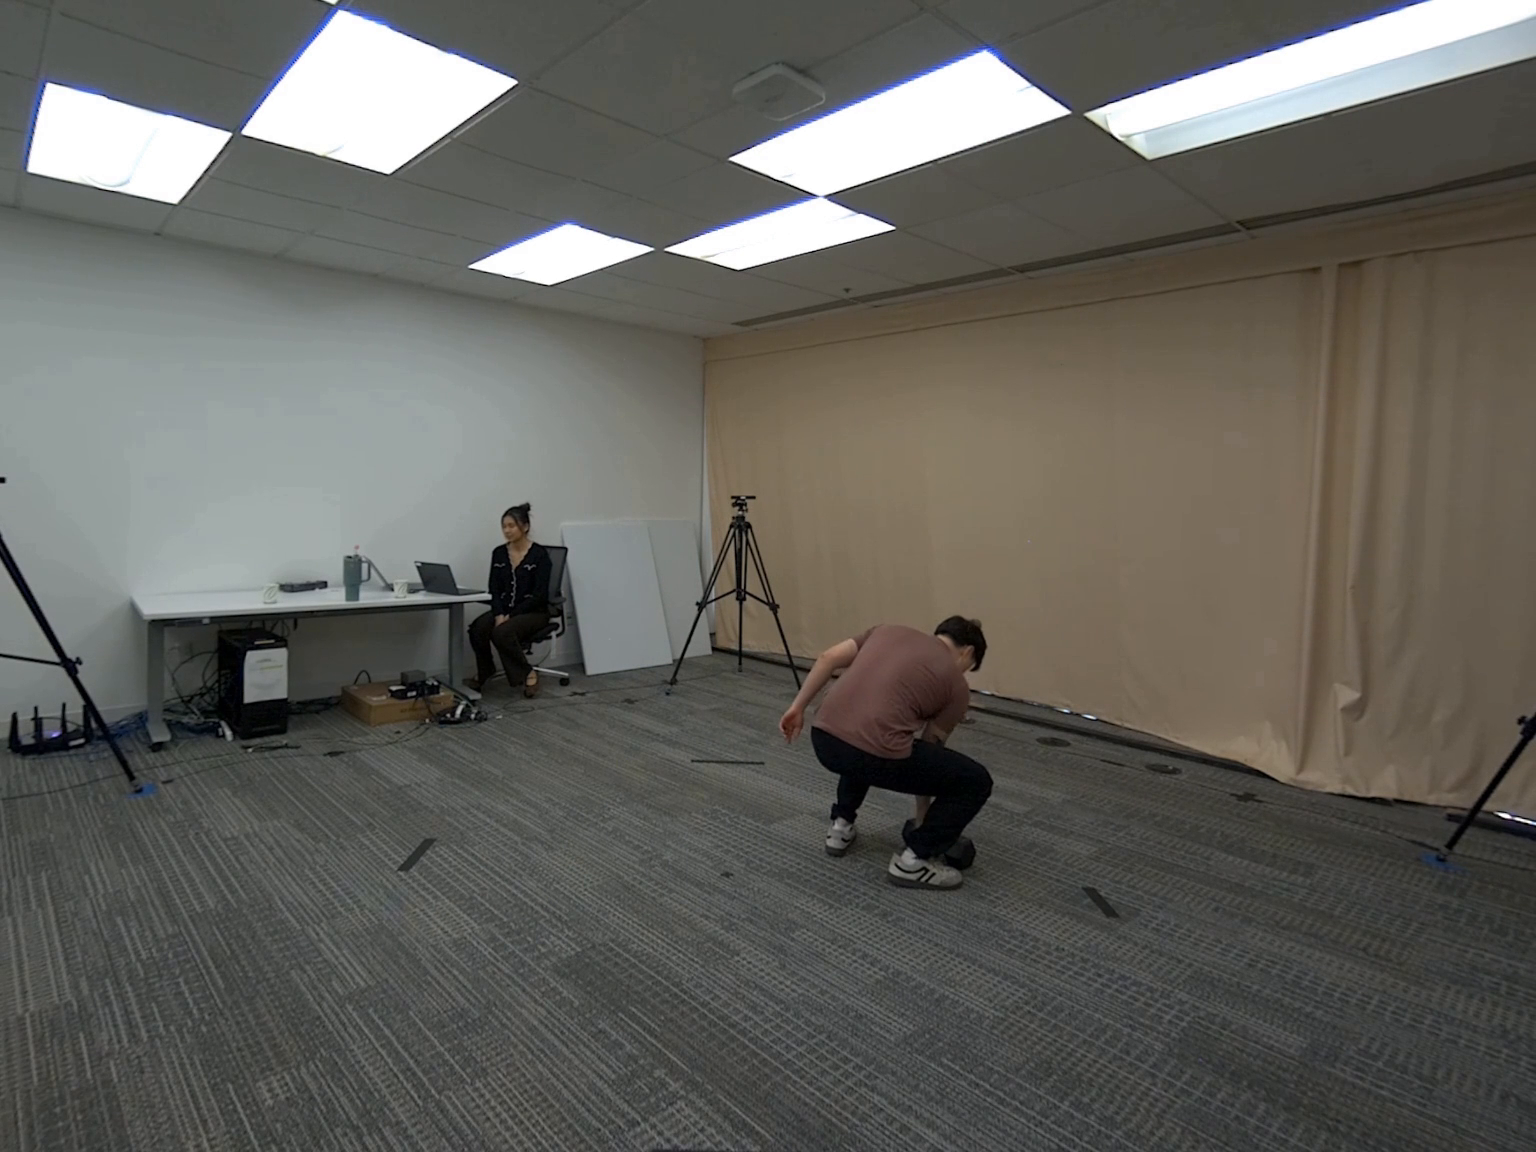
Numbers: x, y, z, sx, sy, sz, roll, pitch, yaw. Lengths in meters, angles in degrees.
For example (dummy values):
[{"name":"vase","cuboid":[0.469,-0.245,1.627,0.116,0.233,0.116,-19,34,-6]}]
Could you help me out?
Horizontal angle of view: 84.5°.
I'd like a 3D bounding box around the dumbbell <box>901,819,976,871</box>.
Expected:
[{"name":"dumbbell","cuboid":[0.662,1.048,3.315,0.120,0.108,0.301,0,5,-38]}]
